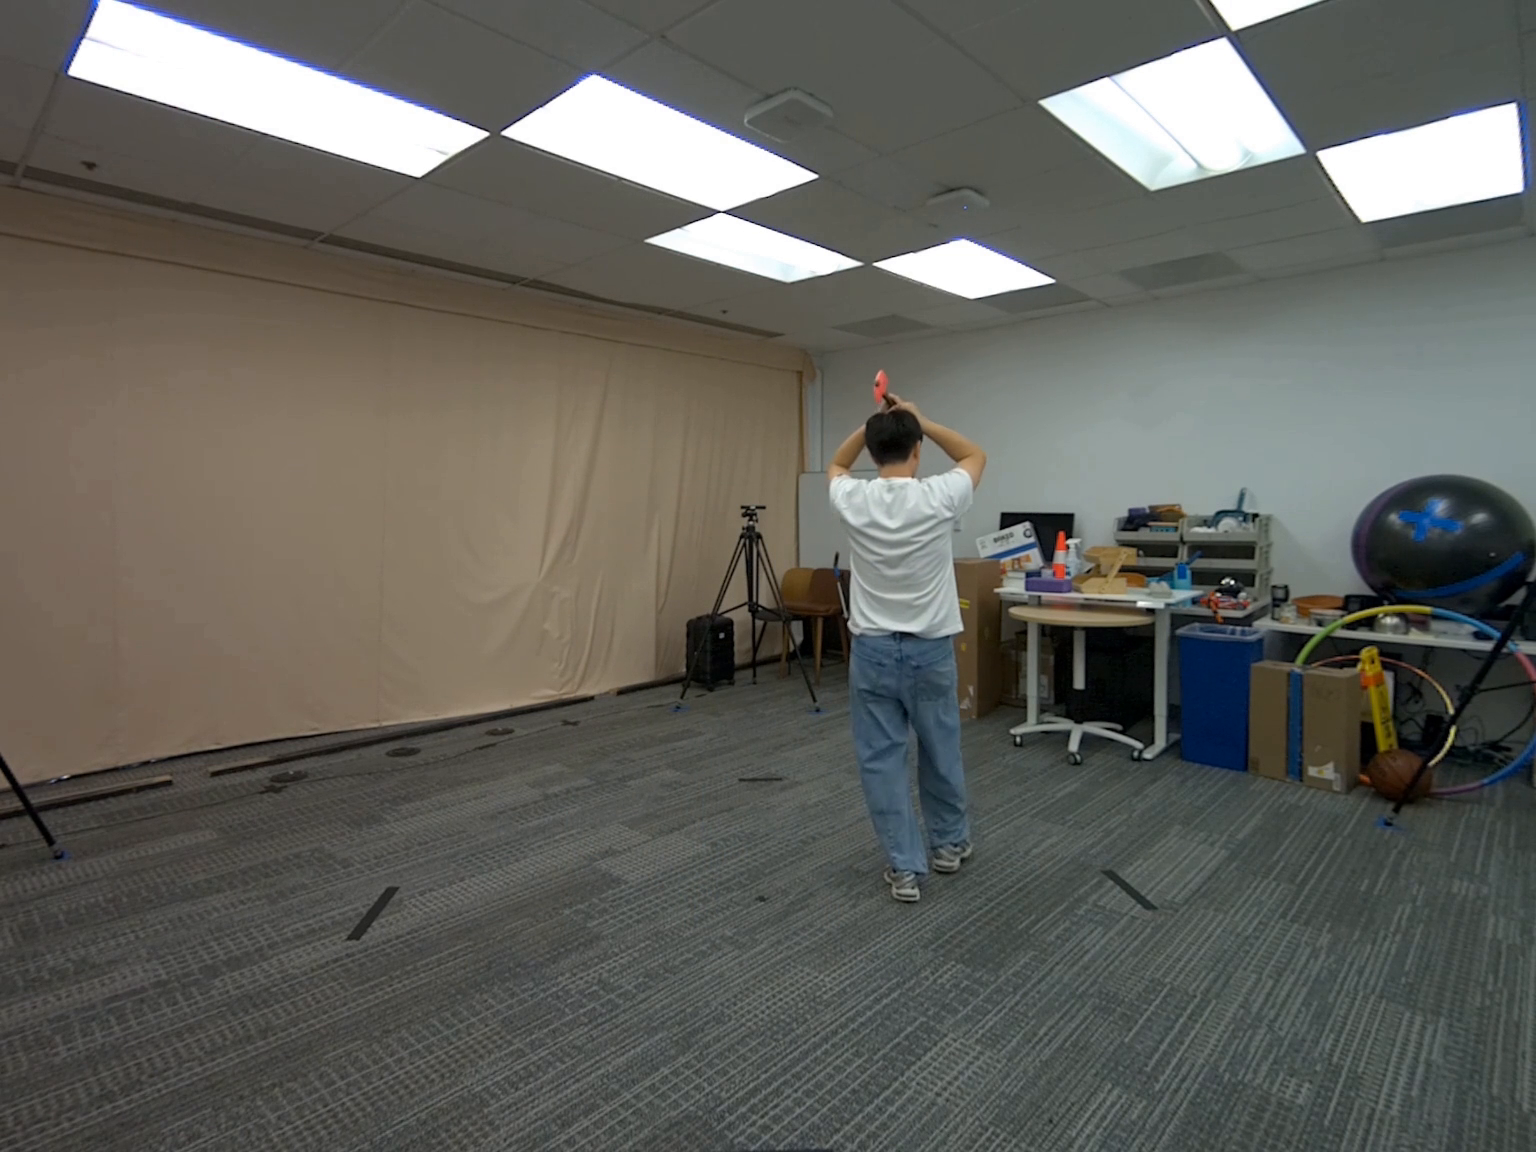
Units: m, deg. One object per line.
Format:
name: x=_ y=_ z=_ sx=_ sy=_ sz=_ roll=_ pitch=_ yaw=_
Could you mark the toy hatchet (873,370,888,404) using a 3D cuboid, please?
toy hatchet: x=0.459 y=-0.667 z=3.071 sx=0.030 sy=0.131 sz=0.262 roll=-8 pitch=-6 yaw=33
